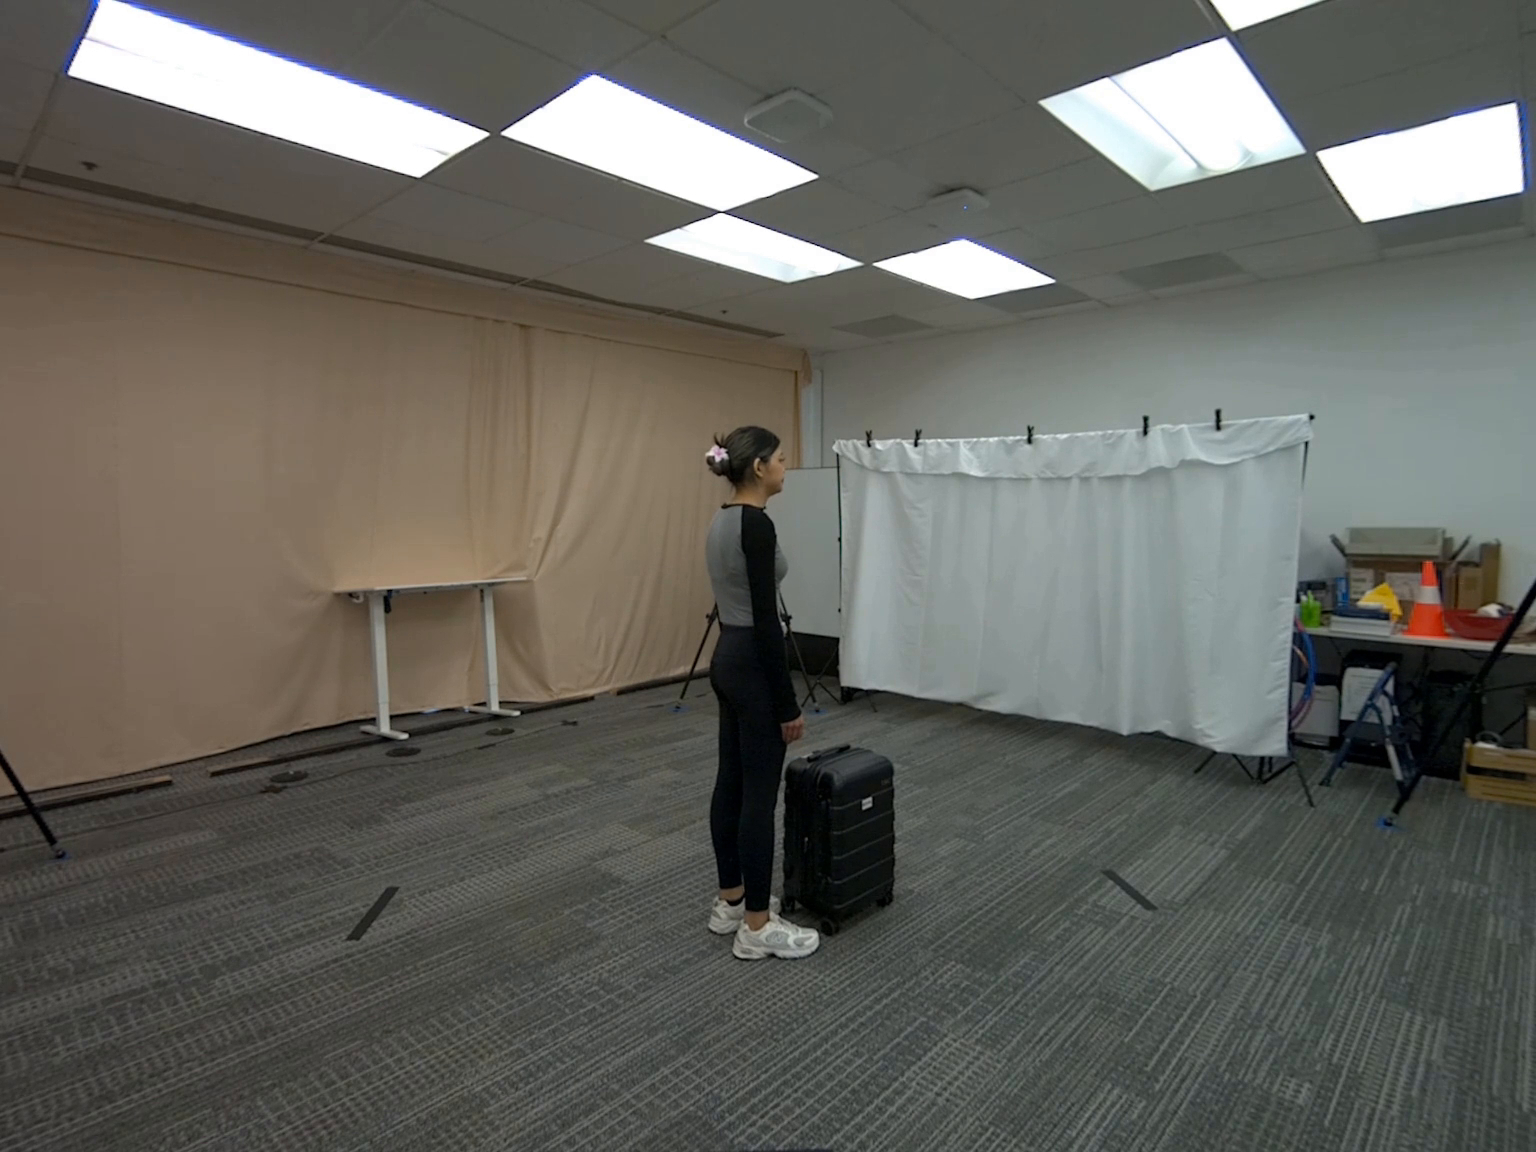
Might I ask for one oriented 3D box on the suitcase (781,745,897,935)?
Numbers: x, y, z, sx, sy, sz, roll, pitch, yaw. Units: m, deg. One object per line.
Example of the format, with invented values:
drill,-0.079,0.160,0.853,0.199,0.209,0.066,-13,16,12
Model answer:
suitcase,0.255,0.876,2.889,0.257,0.548,0.364,5,7,44
